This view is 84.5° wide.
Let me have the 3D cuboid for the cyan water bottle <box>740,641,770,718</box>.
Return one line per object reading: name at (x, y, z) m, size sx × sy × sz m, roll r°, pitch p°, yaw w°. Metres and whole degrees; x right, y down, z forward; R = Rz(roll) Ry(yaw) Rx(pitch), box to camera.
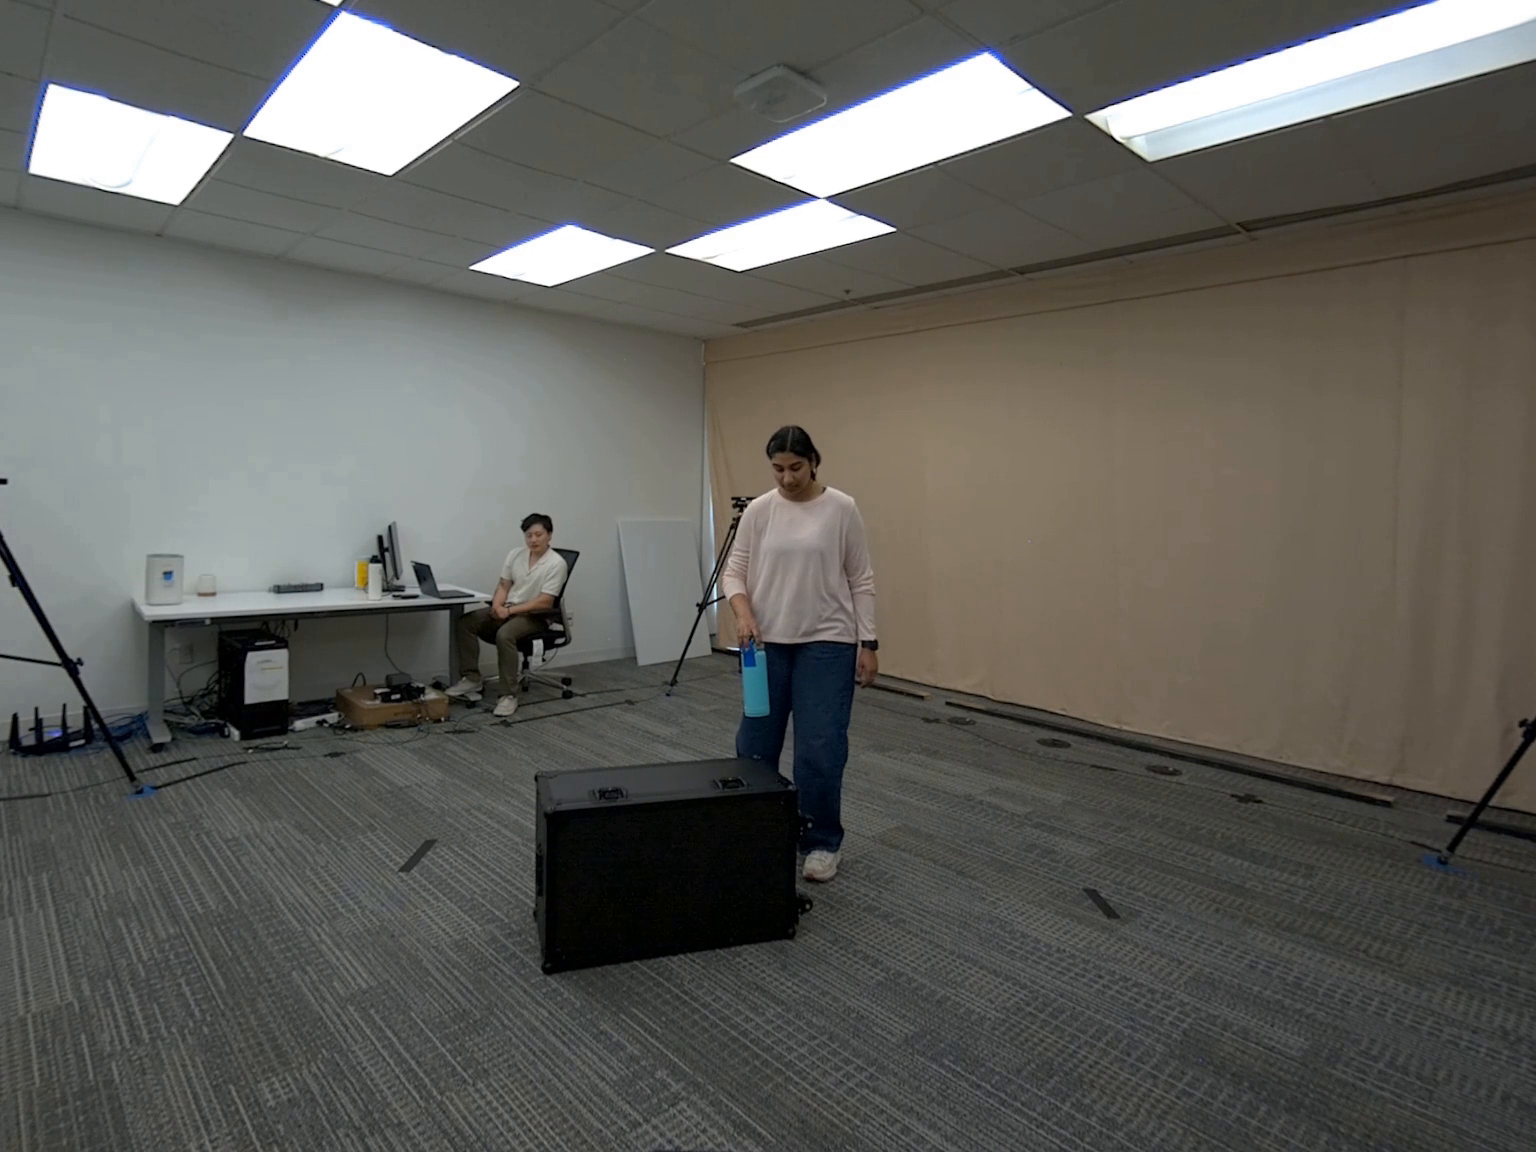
cyan water bottle at (-0.066, 0.352, 3.004) m, size 0.092 × 0.283 × 0.092 m, roll -2°, pitch 0°, yaw -1°
